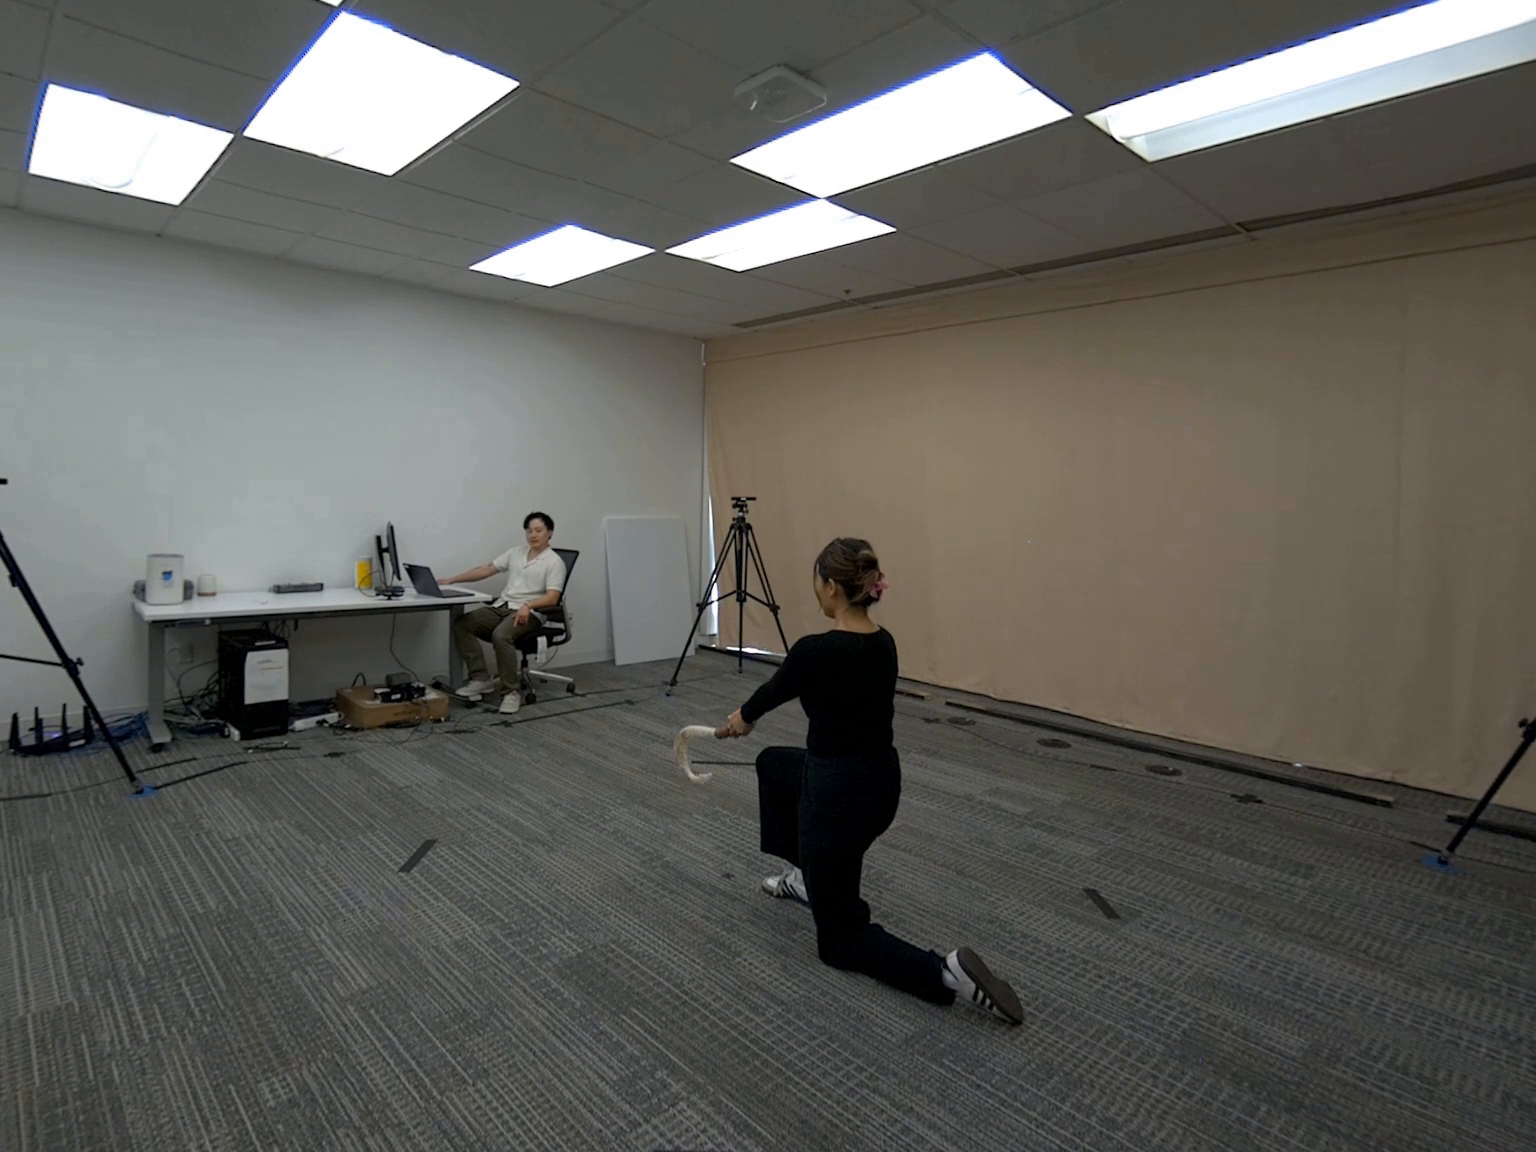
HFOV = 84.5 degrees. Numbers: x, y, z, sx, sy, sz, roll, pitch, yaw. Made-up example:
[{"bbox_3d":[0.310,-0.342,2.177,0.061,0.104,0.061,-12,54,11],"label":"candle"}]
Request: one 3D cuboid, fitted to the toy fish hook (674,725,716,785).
[{"bbox_3d":[-0.220,0.607,3.132,0.047,0.227,0.511,-7,-14,-40],"label":"toy fish hook"}]
